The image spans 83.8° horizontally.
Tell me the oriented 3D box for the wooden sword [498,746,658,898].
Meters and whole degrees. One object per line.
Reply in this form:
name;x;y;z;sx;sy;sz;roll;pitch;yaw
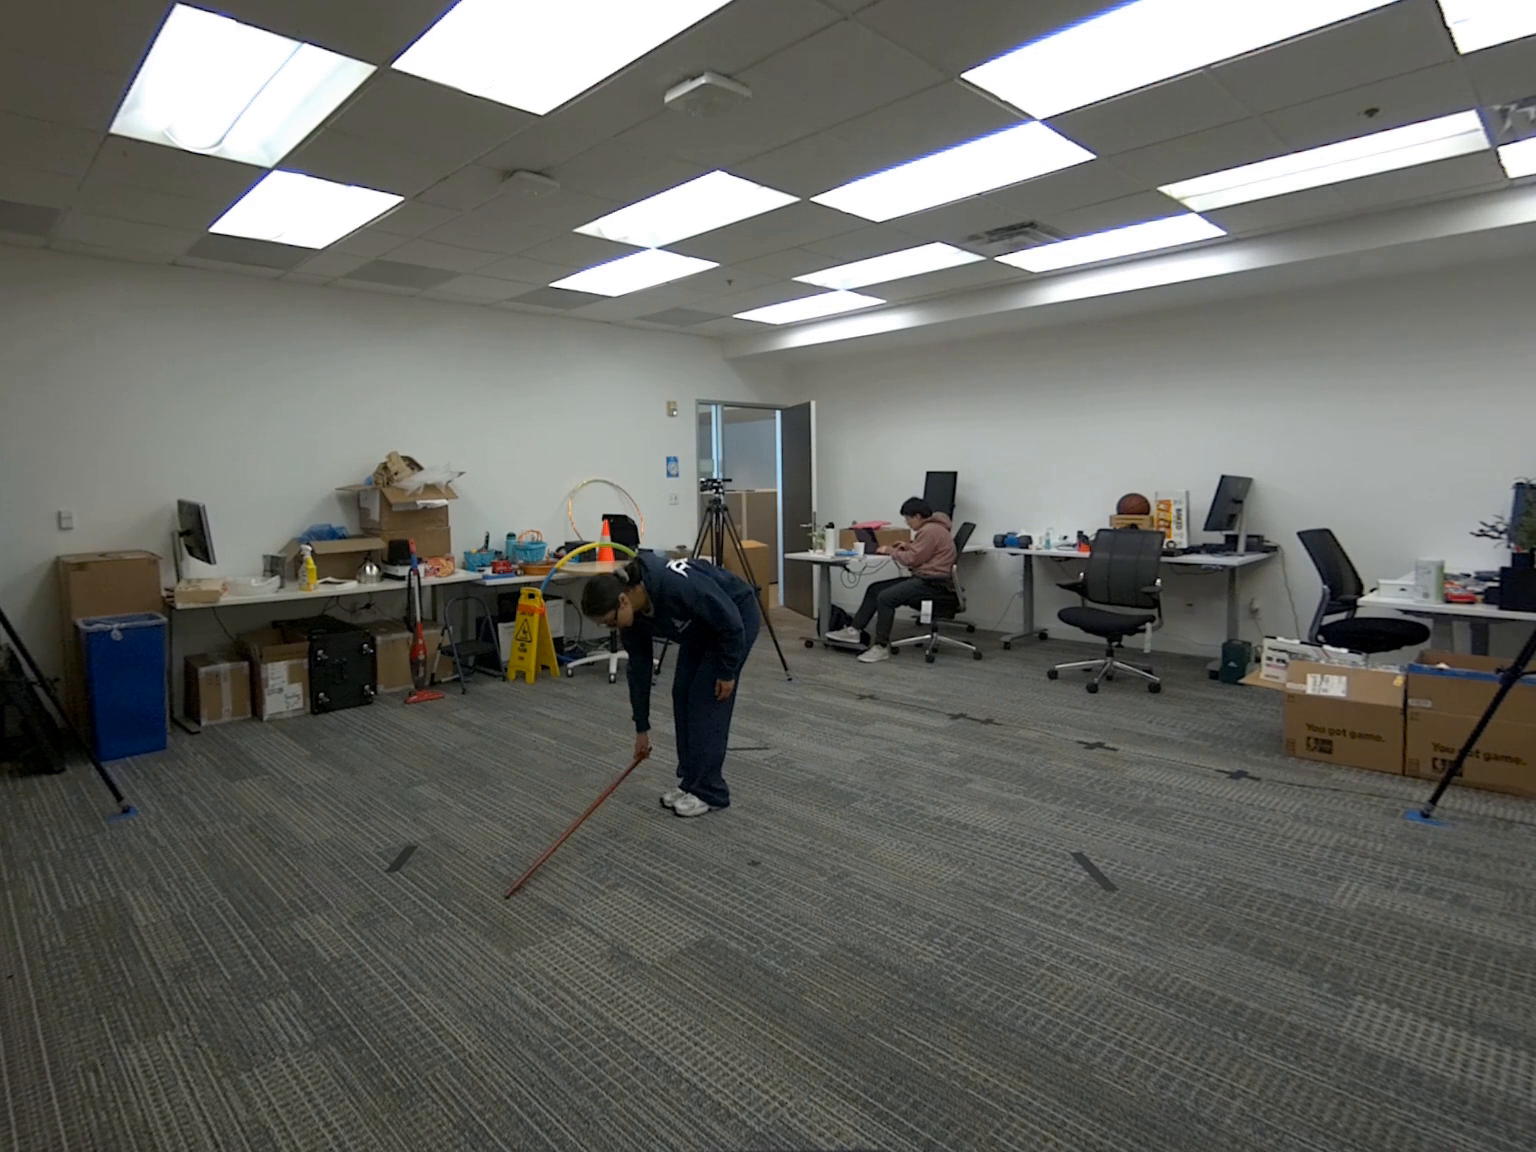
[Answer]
wooden sword;-0.702;0.918;3.337;0.052;0.024;1.017;-18;10;26
